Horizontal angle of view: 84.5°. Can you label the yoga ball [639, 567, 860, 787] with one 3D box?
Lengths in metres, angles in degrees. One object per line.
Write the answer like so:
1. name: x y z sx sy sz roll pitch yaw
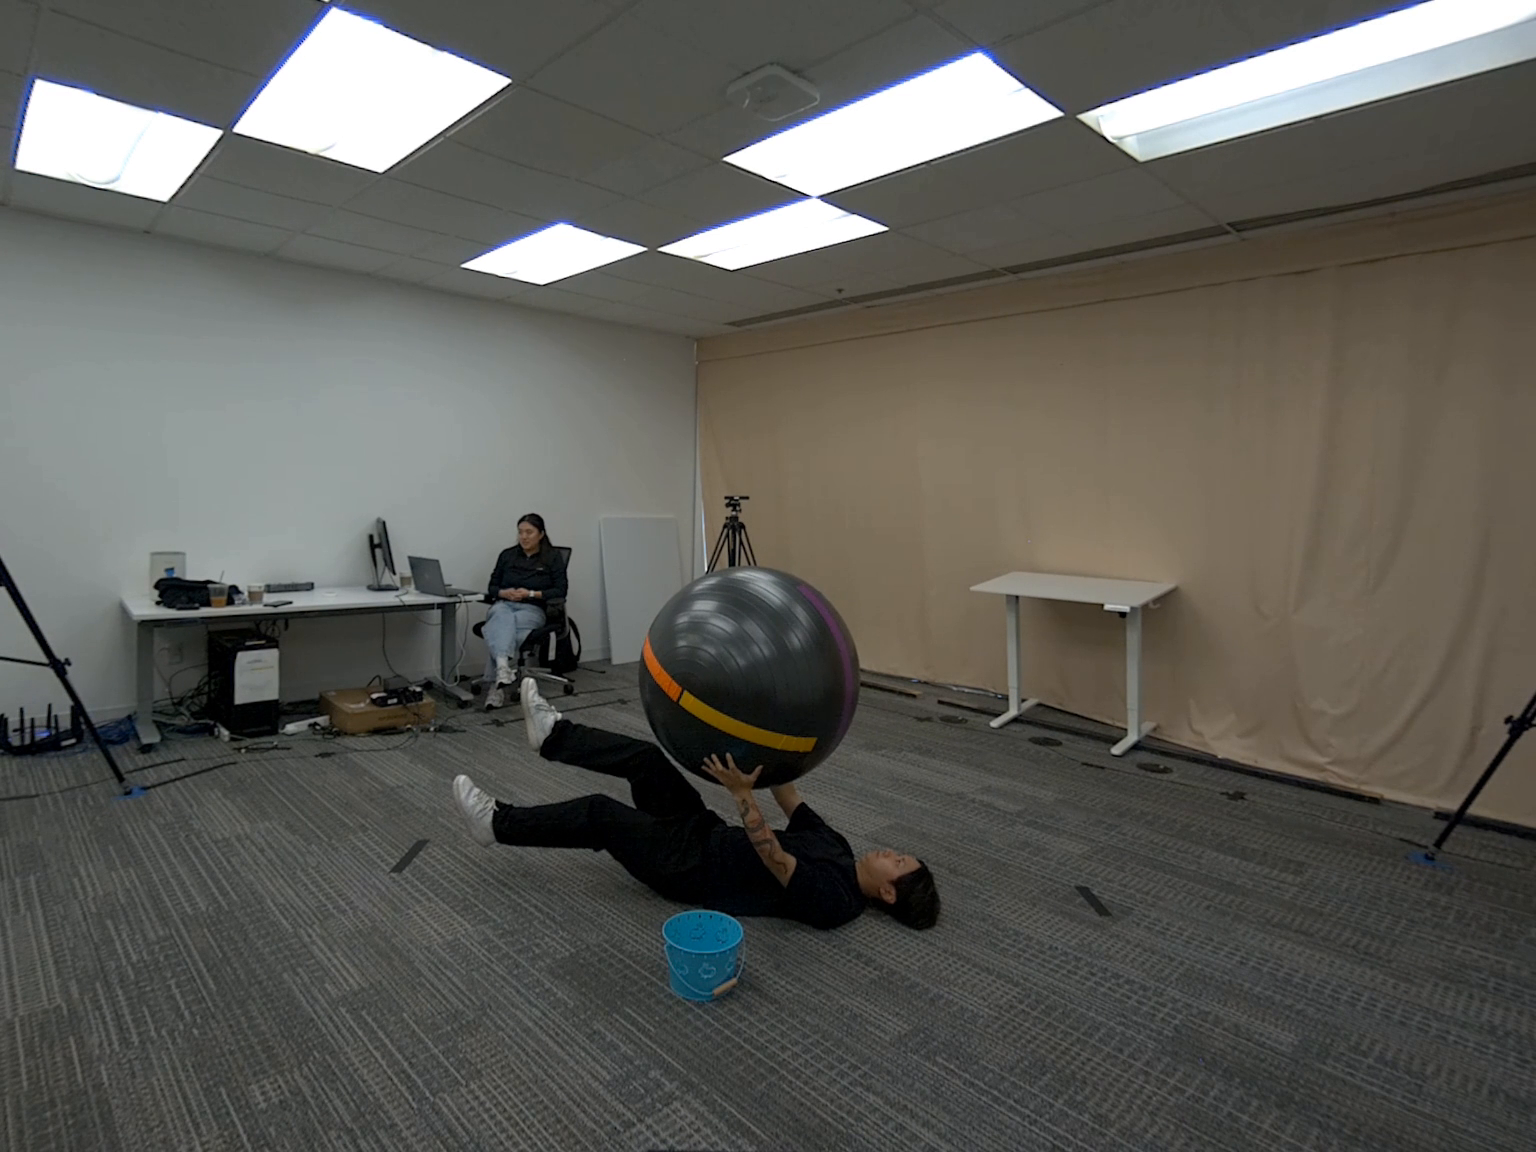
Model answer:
1. yoga ball: -0.064 0.352 2.913 0.757 0.756 0.761 1 4 -1
